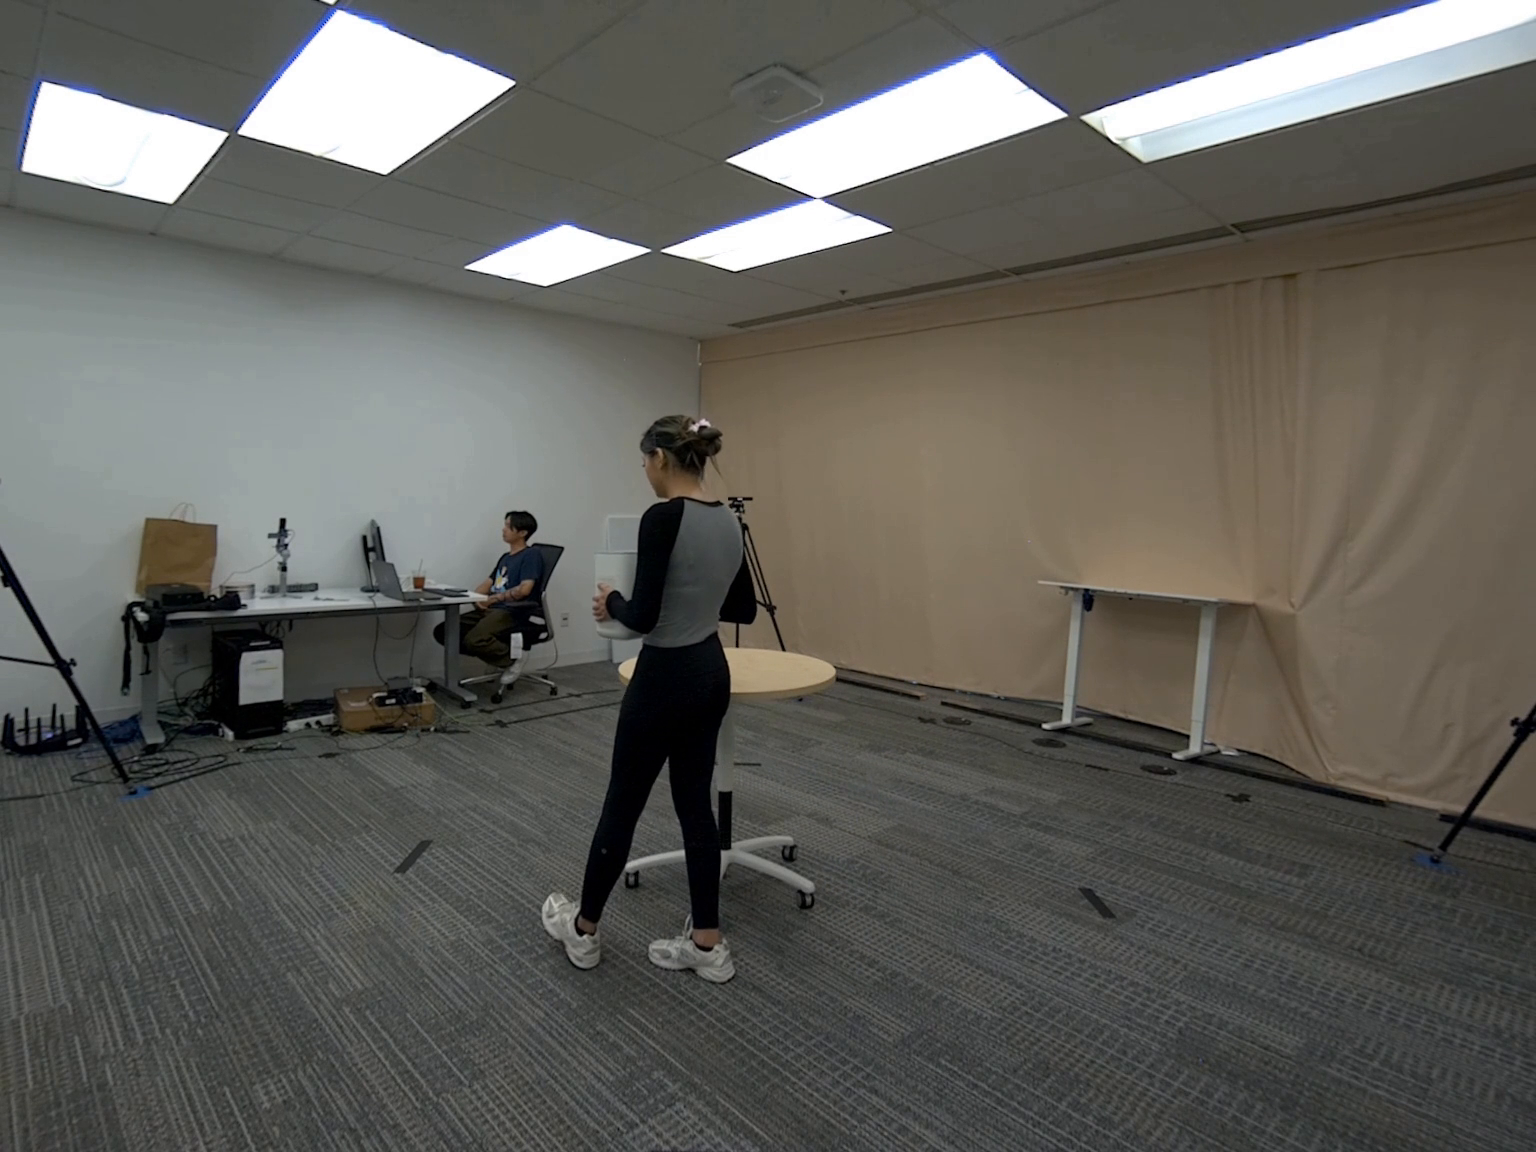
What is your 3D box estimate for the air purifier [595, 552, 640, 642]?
[{"bbox_3d":[-0.435,0.057,2.596,0.175,0.265,0.167,0,3,39],"label":"air purifier"}]
